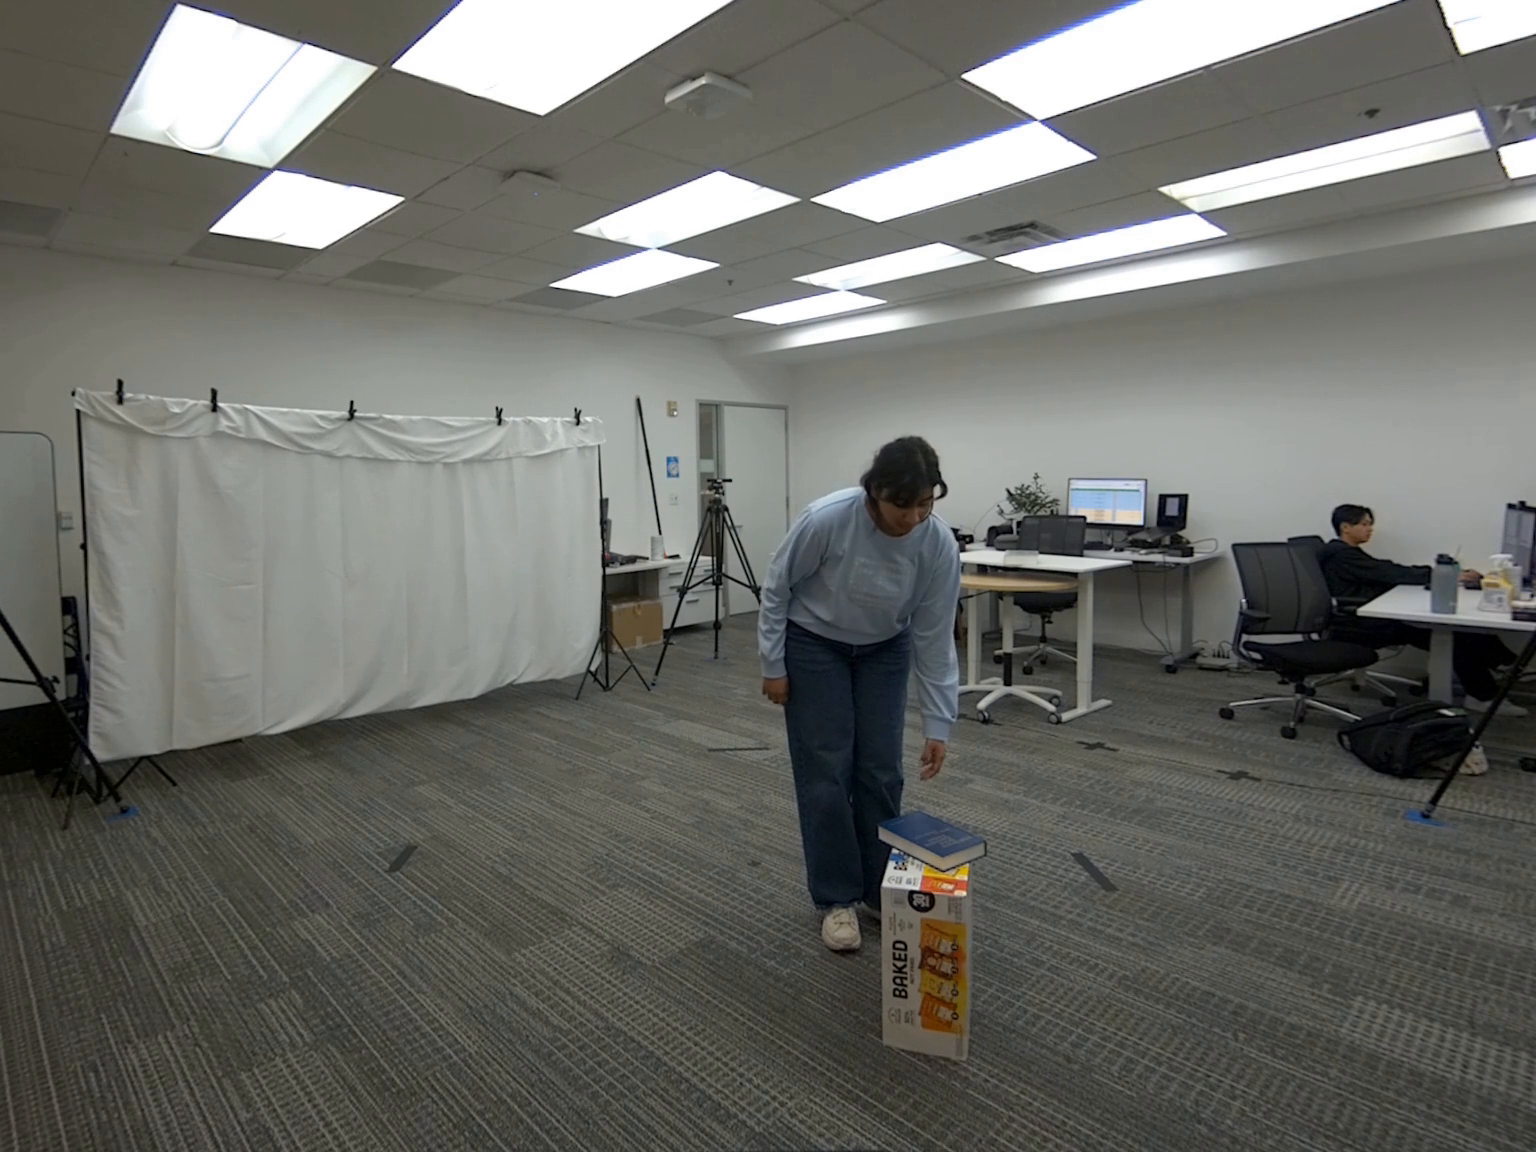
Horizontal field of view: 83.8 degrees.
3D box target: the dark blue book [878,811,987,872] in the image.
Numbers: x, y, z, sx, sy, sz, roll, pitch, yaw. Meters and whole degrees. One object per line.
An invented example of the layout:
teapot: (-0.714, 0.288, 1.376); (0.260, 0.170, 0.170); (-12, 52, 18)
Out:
dark blue book: (0.436, 0.707, 2.287); (0.159, 0.045, 0.252); (-8, 9, -33)
